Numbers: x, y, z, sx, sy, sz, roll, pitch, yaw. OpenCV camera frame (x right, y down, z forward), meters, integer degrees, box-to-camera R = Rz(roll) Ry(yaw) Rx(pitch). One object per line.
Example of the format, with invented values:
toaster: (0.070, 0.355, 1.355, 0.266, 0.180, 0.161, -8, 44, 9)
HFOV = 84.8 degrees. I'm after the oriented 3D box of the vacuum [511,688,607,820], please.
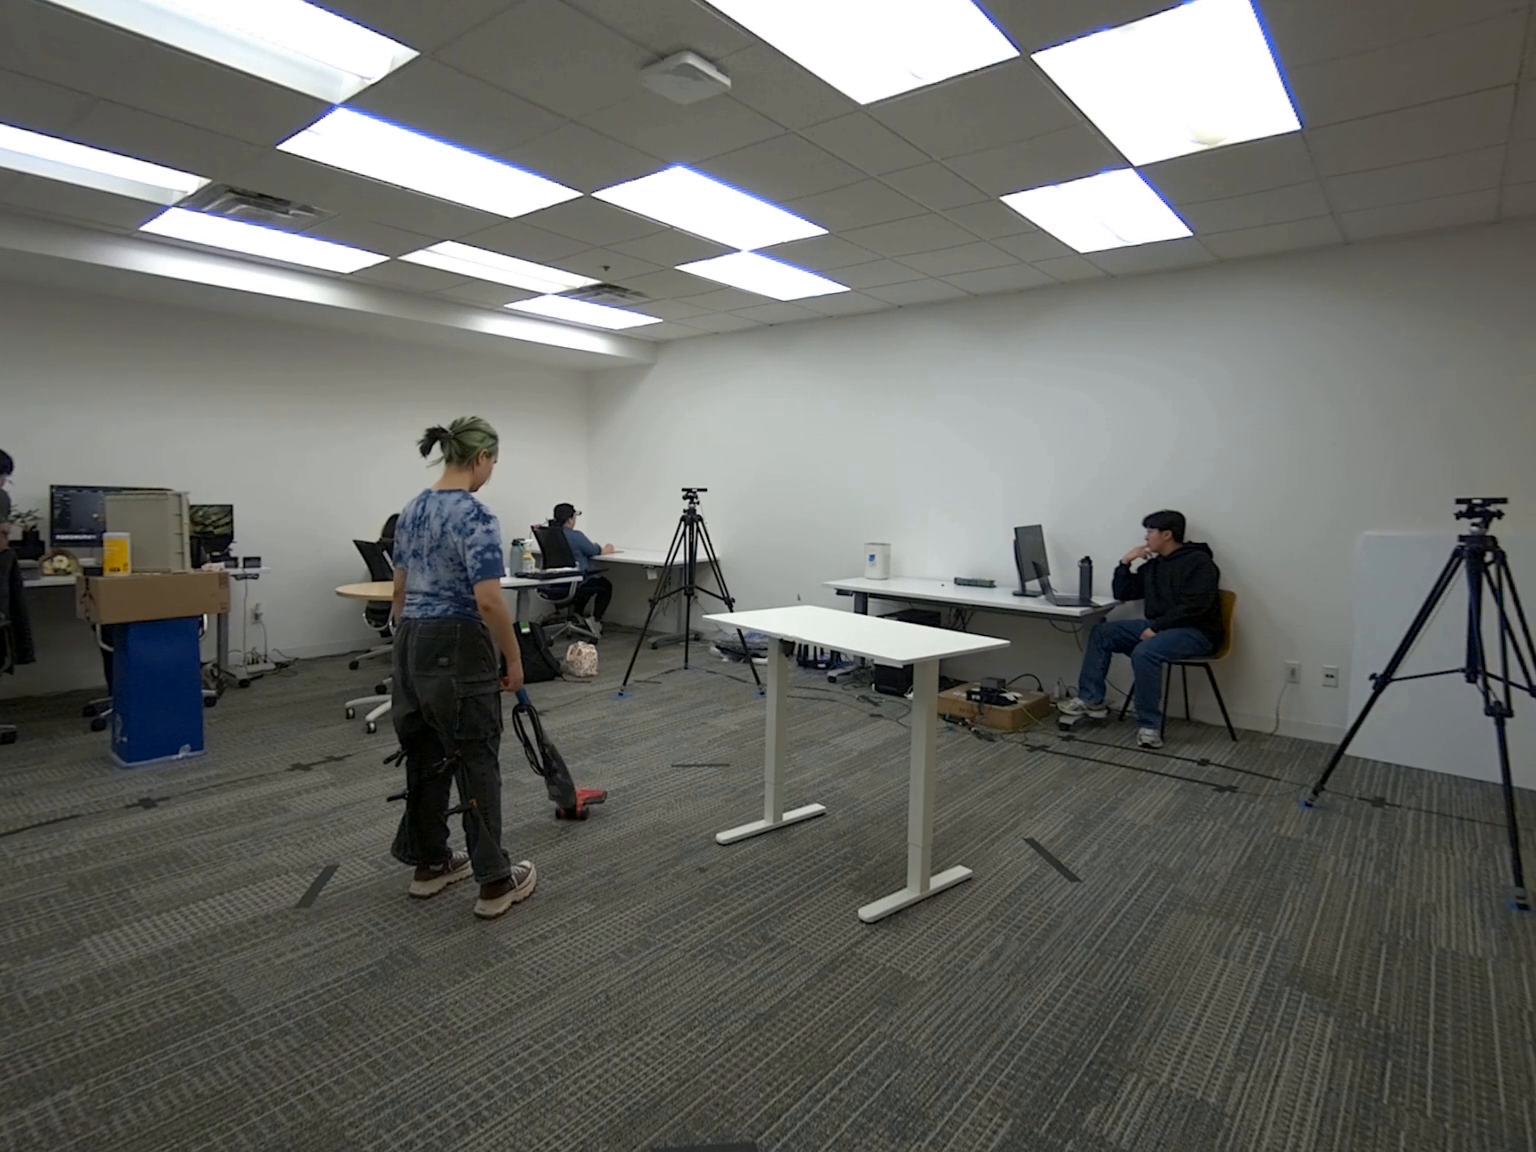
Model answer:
vacuum: (-0.862, 0.679, 3.230, 0.254, 0.147, 1.016, 2, -37, 6)
